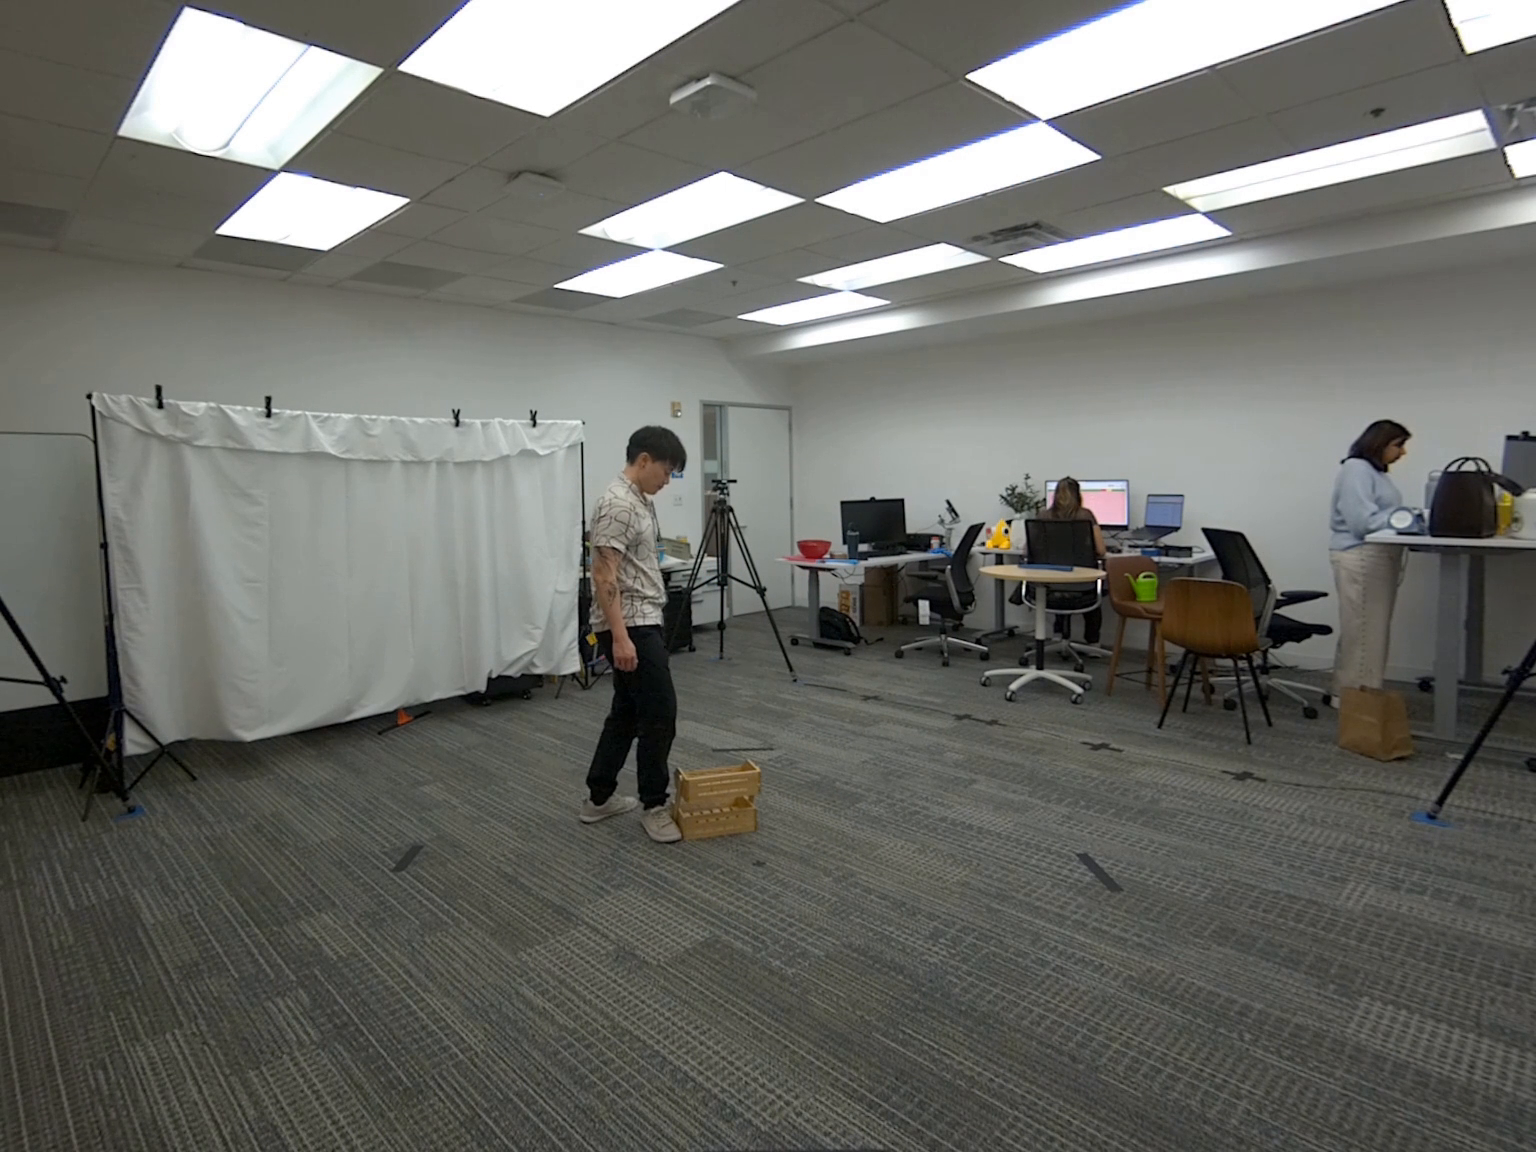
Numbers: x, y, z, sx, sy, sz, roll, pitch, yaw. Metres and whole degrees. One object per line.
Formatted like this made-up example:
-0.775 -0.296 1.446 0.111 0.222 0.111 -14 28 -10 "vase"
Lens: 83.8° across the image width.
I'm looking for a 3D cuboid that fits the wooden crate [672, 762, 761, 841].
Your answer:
-0.224 0.877 3.447 0.319 0.272 0.308 -3 5 -20 "wooden crate"
